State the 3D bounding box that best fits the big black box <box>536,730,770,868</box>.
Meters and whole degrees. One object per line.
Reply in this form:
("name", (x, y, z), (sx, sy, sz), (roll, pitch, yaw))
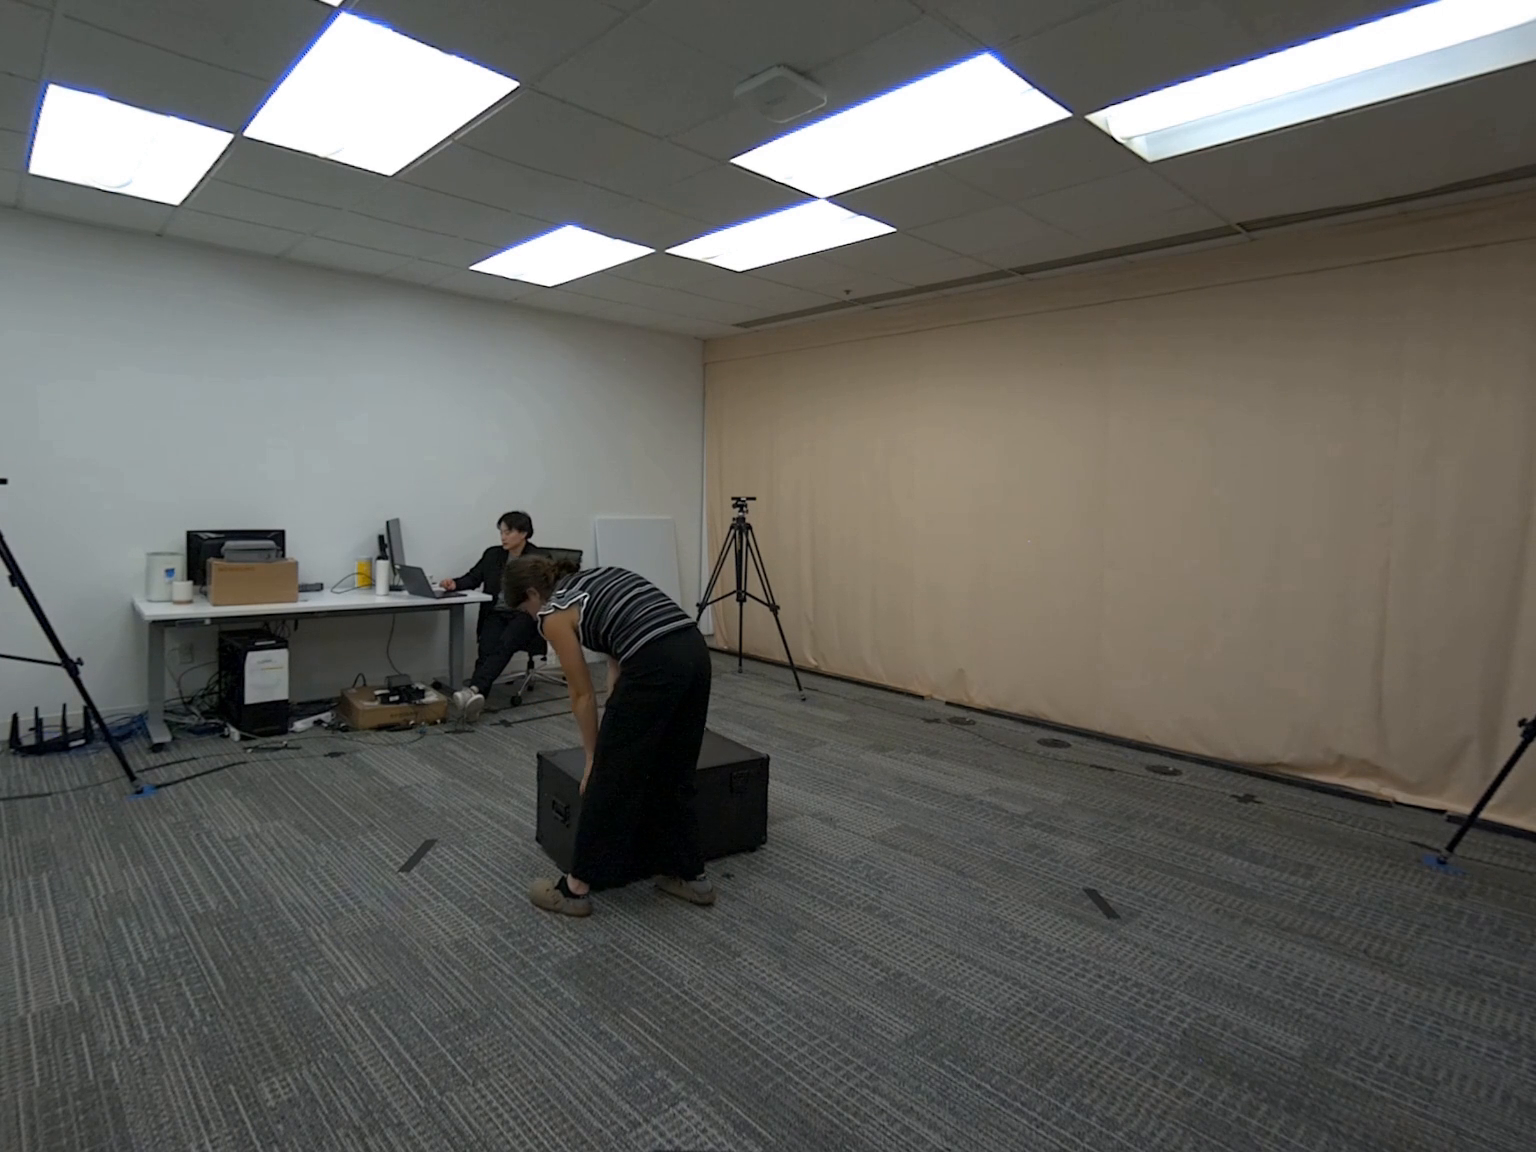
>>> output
("big black box", (-0.430, 0.892, 3.340), (0.843, 0.395, 0.534), (-3, 6, -35))
